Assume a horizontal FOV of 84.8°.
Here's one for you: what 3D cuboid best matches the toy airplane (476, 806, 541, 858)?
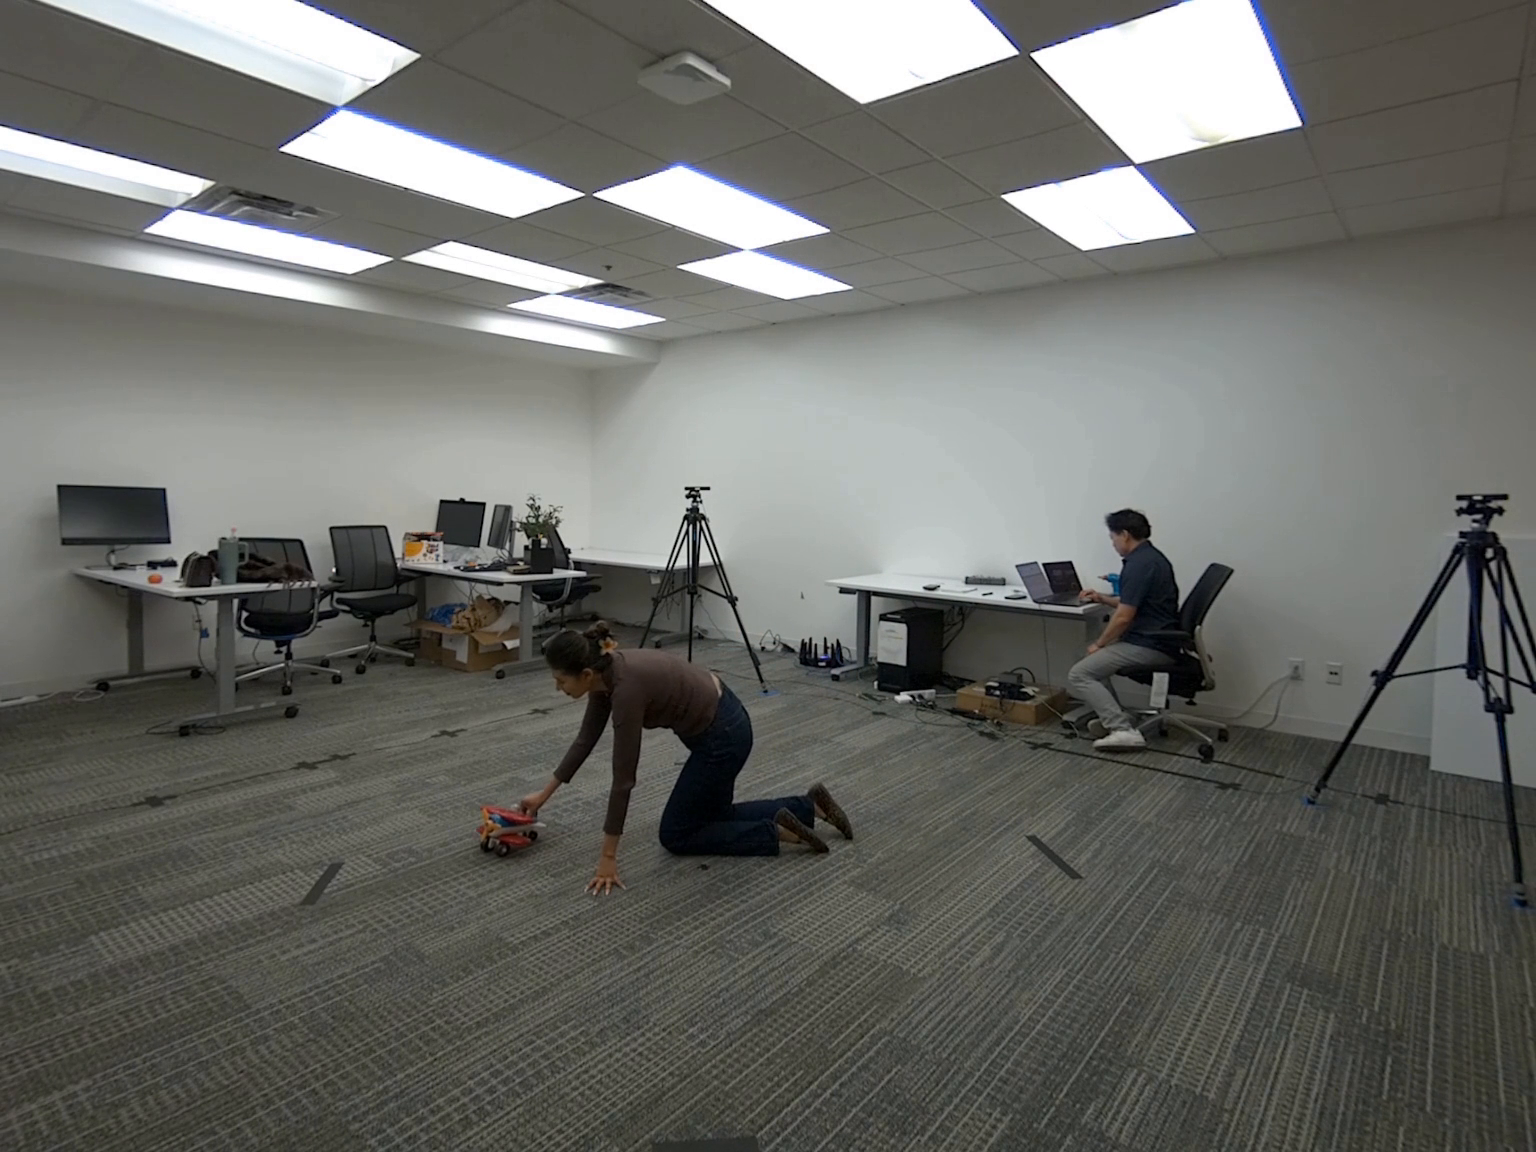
[{"bbox_3d":[-1.015,0.968,3.281,0.252,0.156,0.259,1,6,4],"label":"toy airplane"}]
